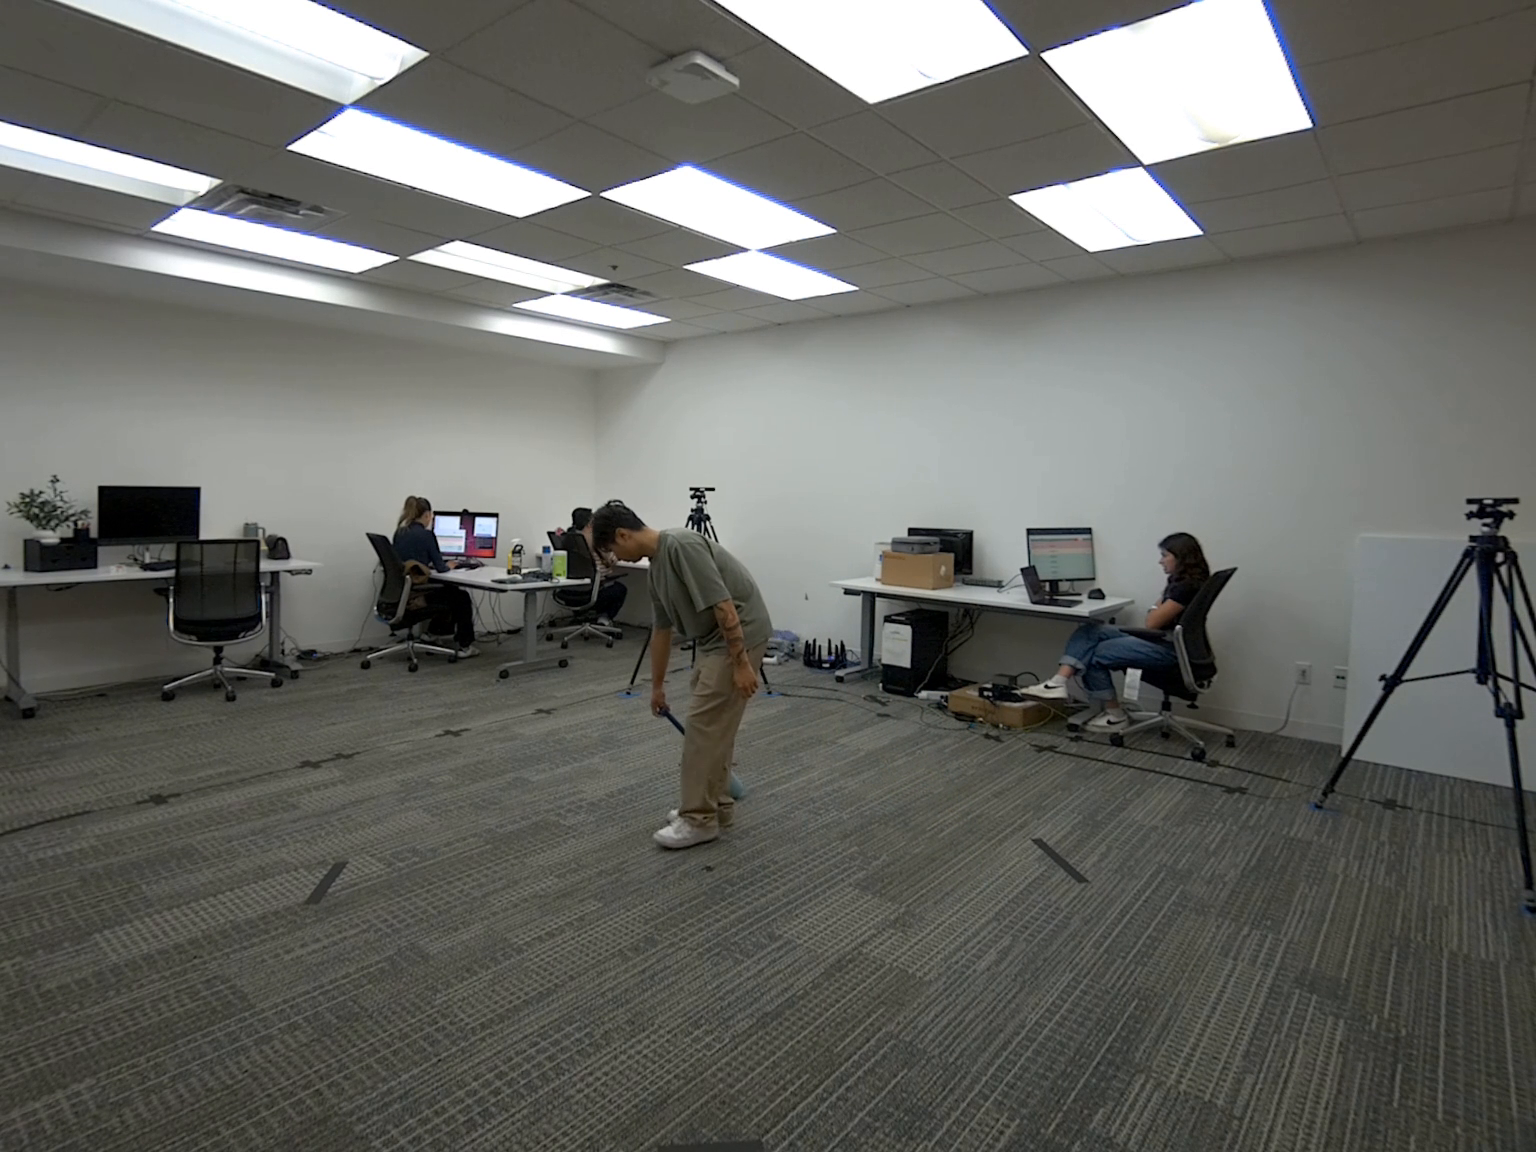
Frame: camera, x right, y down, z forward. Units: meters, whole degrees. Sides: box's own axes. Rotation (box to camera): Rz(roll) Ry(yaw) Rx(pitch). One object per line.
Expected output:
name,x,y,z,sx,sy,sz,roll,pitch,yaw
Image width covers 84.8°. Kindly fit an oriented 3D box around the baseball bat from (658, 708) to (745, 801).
baseball bat,-0.309,0.773,3.779,0.089,0.534,0.090,-37,12,9
